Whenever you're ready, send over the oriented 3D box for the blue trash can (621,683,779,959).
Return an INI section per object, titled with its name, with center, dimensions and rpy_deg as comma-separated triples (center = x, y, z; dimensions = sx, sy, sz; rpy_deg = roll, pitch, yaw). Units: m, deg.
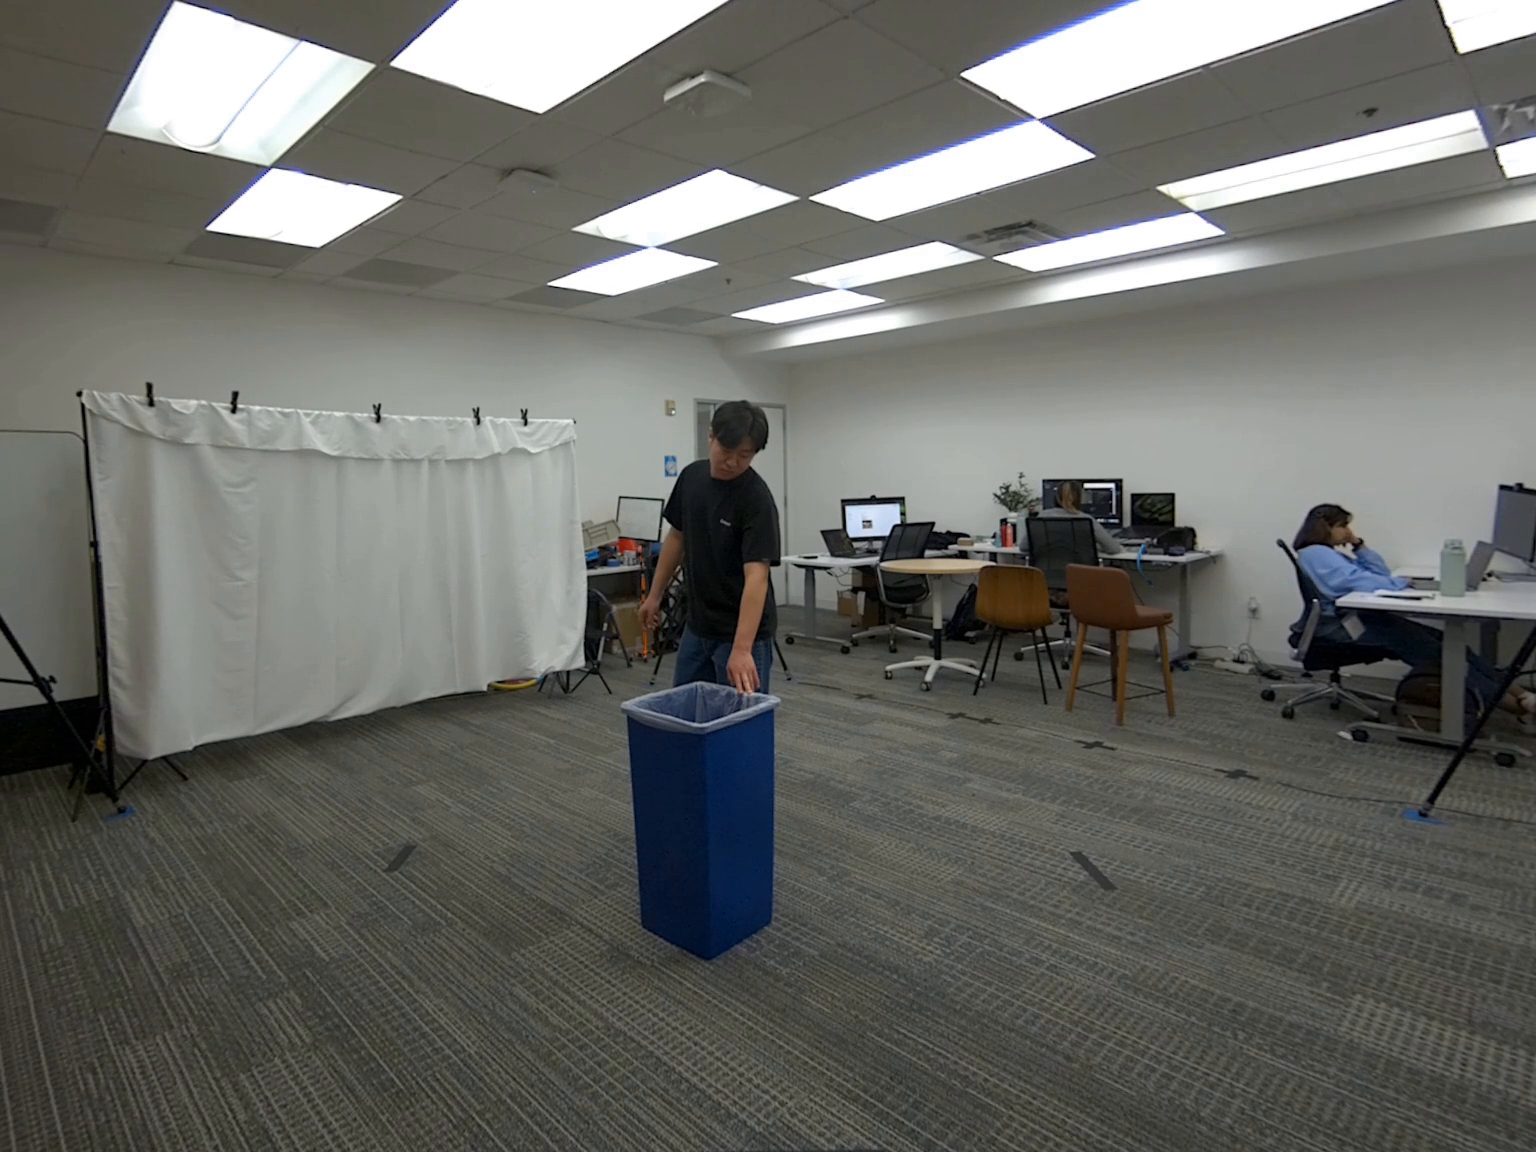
[blue trash can]
center = -0.201, 0.744, 2.655
dimensions = 0.389, 0.711, 0.364
rpy_deg = 2, 5, 40
